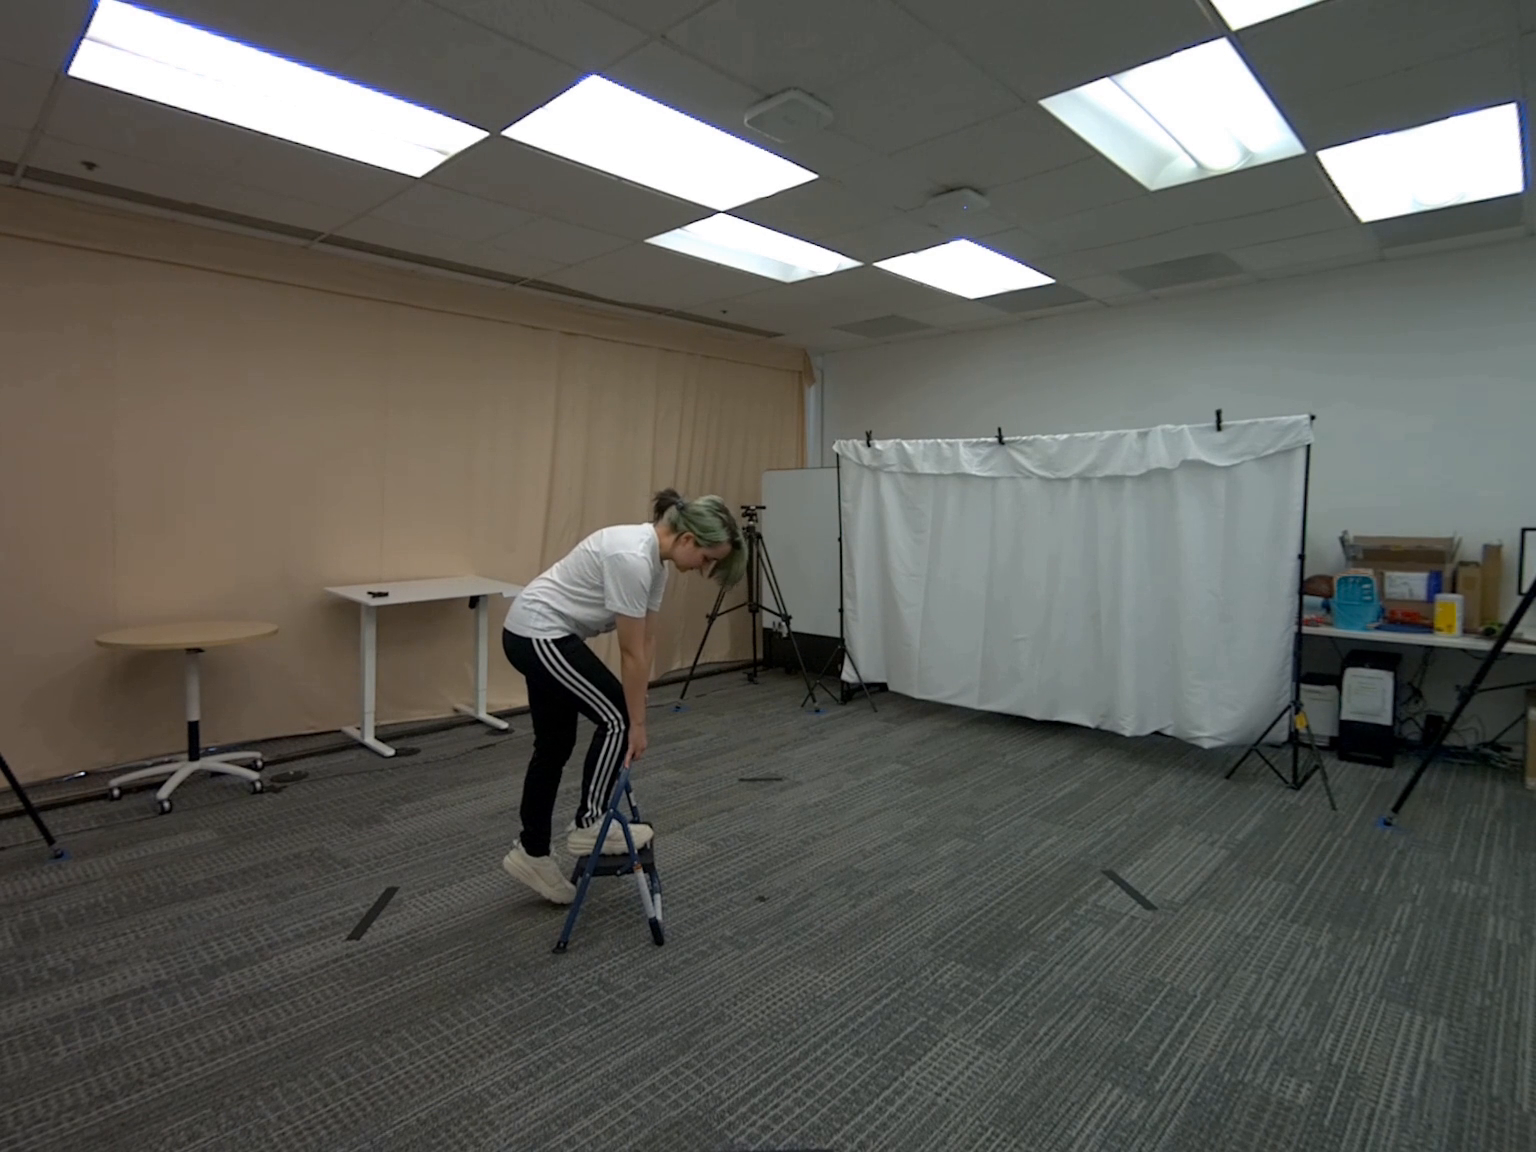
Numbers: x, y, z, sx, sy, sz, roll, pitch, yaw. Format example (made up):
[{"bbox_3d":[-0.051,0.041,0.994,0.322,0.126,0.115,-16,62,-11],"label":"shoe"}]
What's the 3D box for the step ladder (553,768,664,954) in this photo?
[{"bbox_3d":[-0.531,0.863,2.835,0.347,0.605,0.434,-1,3,-7],"label":"step ladder"}]
